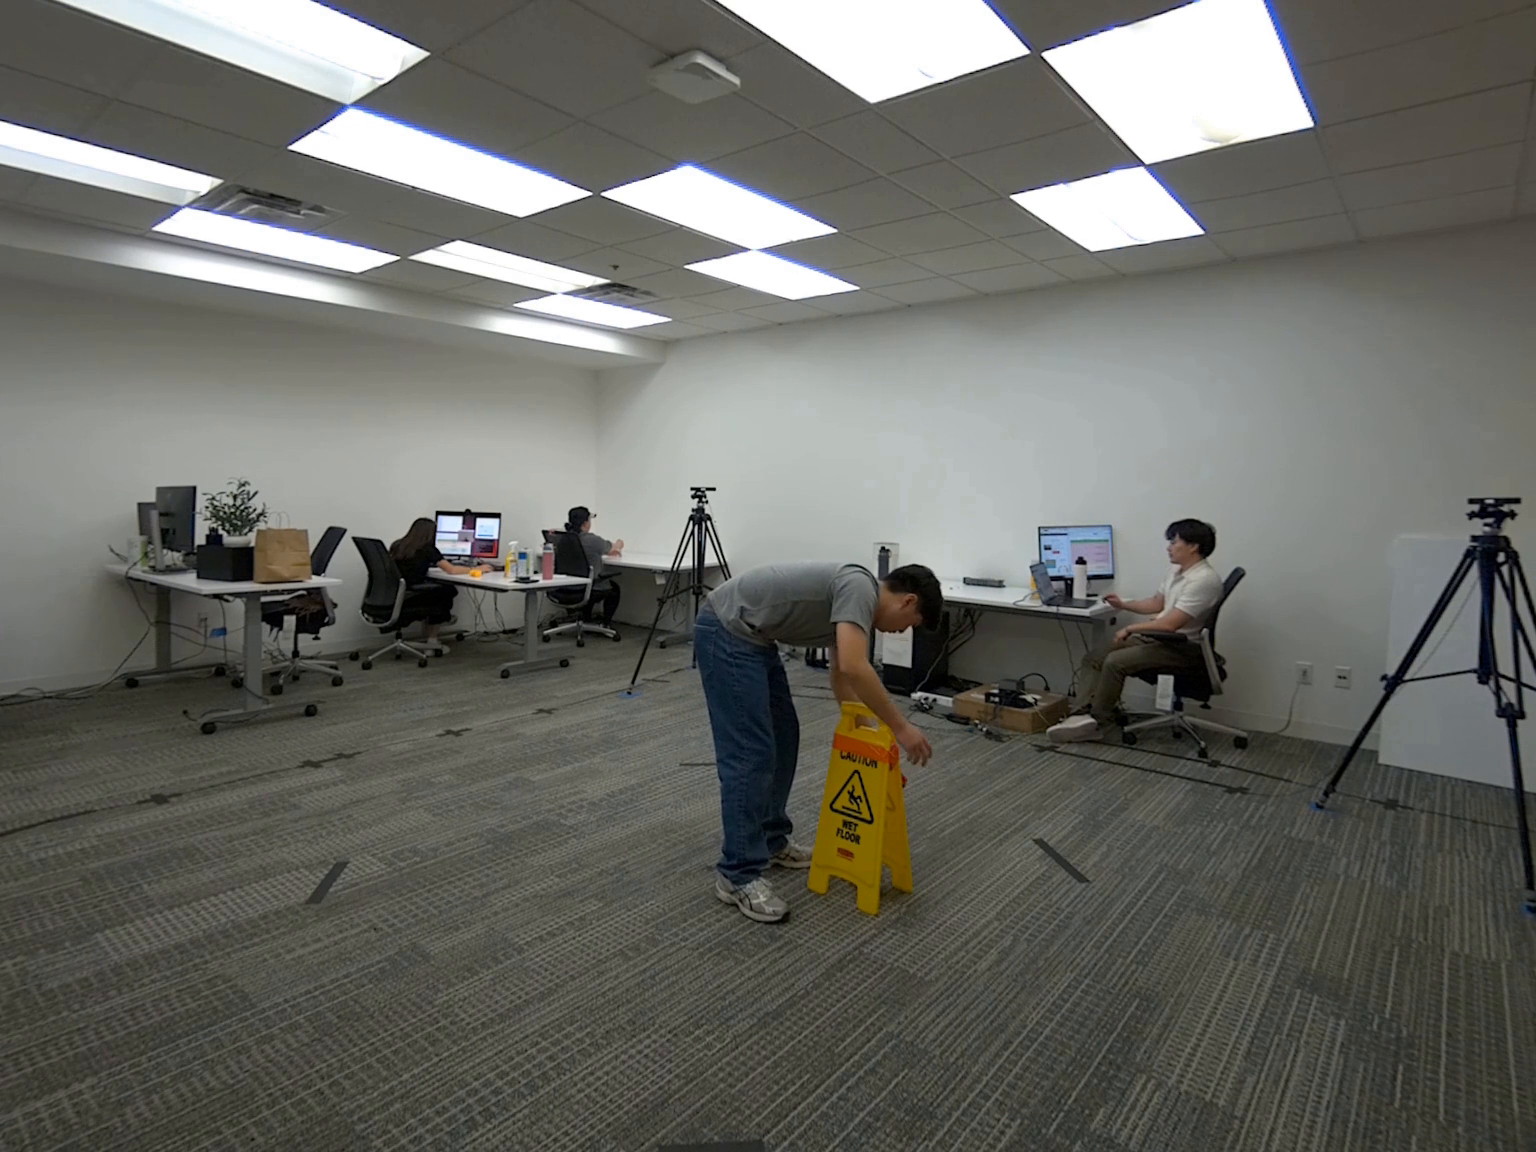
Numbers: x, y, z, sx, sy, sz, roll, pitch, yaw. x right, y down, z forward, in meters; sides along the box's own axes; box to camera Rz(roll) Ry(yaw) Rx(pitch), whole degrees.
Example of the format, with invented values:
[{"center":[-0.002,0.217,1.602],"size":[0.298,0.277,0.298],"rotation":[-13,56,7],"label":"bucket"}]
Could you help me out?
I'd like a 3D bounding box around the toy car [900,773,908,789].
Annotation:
[{"center":[0.373,0.726,3.172],"size":[0.126,0.083,0.263],"rotation":[49,-20,-30],"label":"toy car"}]
